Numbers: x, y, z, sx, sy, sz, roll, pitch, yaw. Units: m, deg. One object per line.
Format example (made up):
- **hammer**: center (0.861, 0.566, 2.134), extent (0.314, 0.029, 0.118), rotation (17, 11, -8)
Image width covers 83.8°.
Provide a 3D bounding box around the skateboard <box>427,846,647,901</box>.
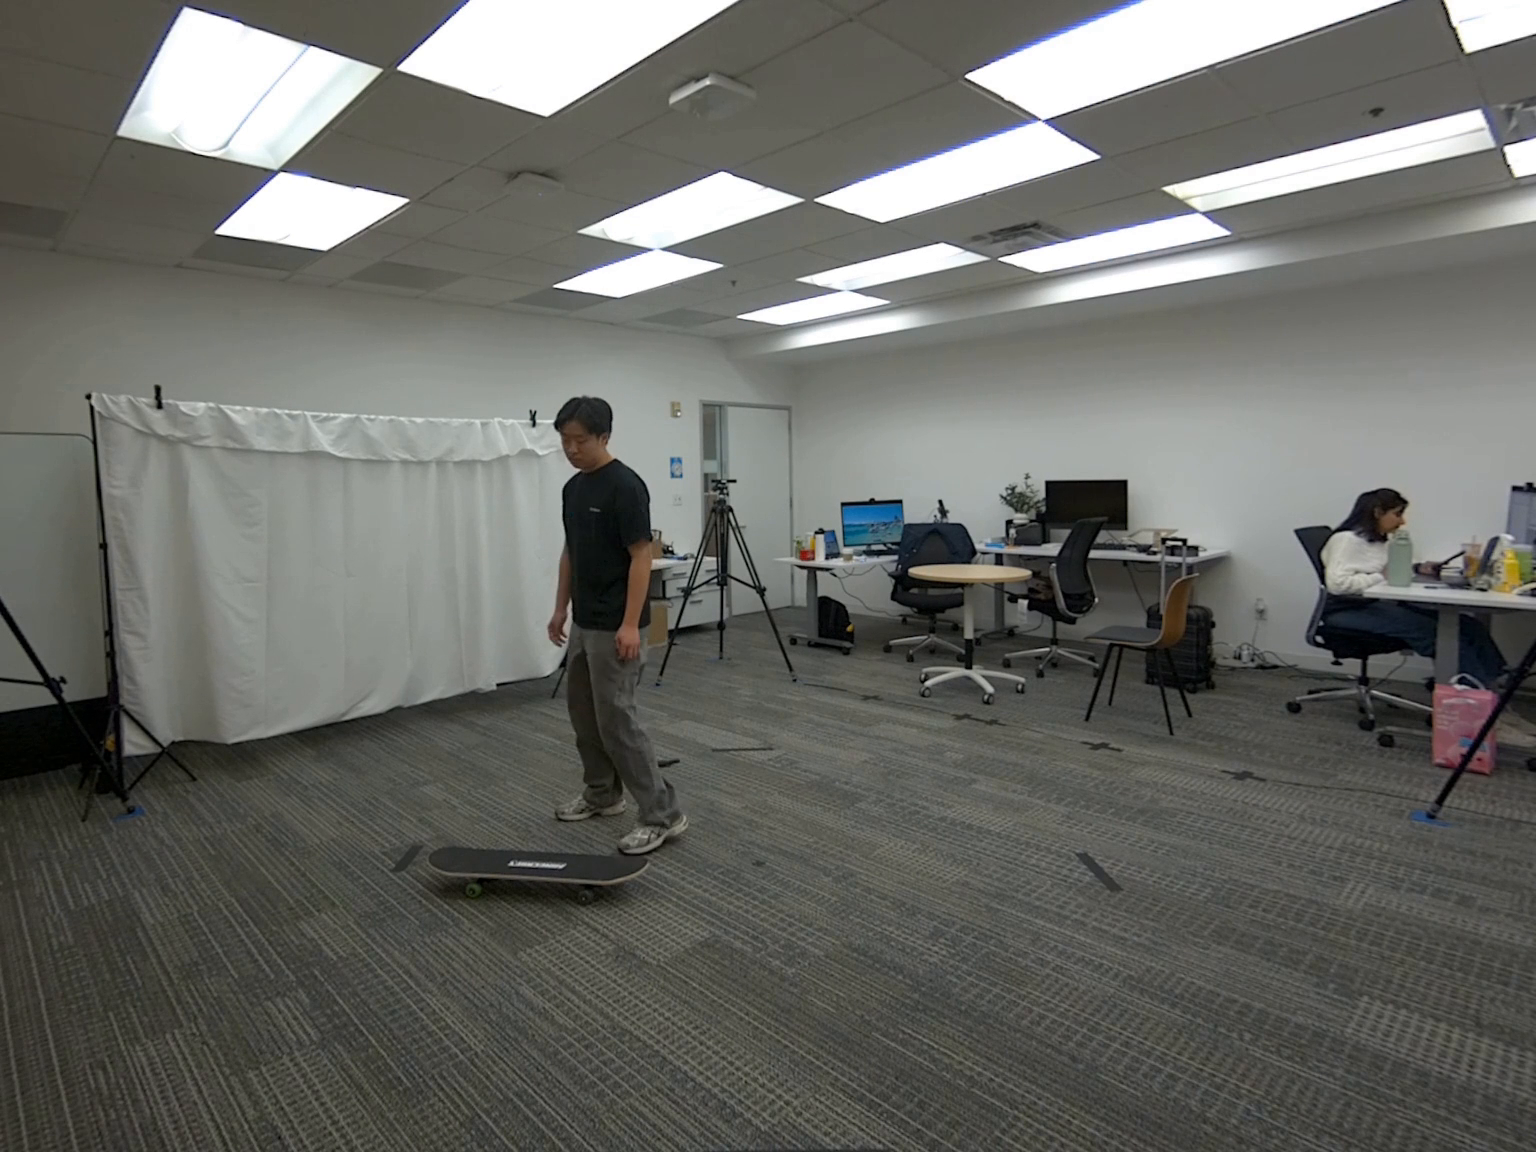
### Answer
- **skateboard**: center (-0.786, 1.020, 2.943), extent (0.793, 0.110, 0.193), rotation (0, 7, 10)
